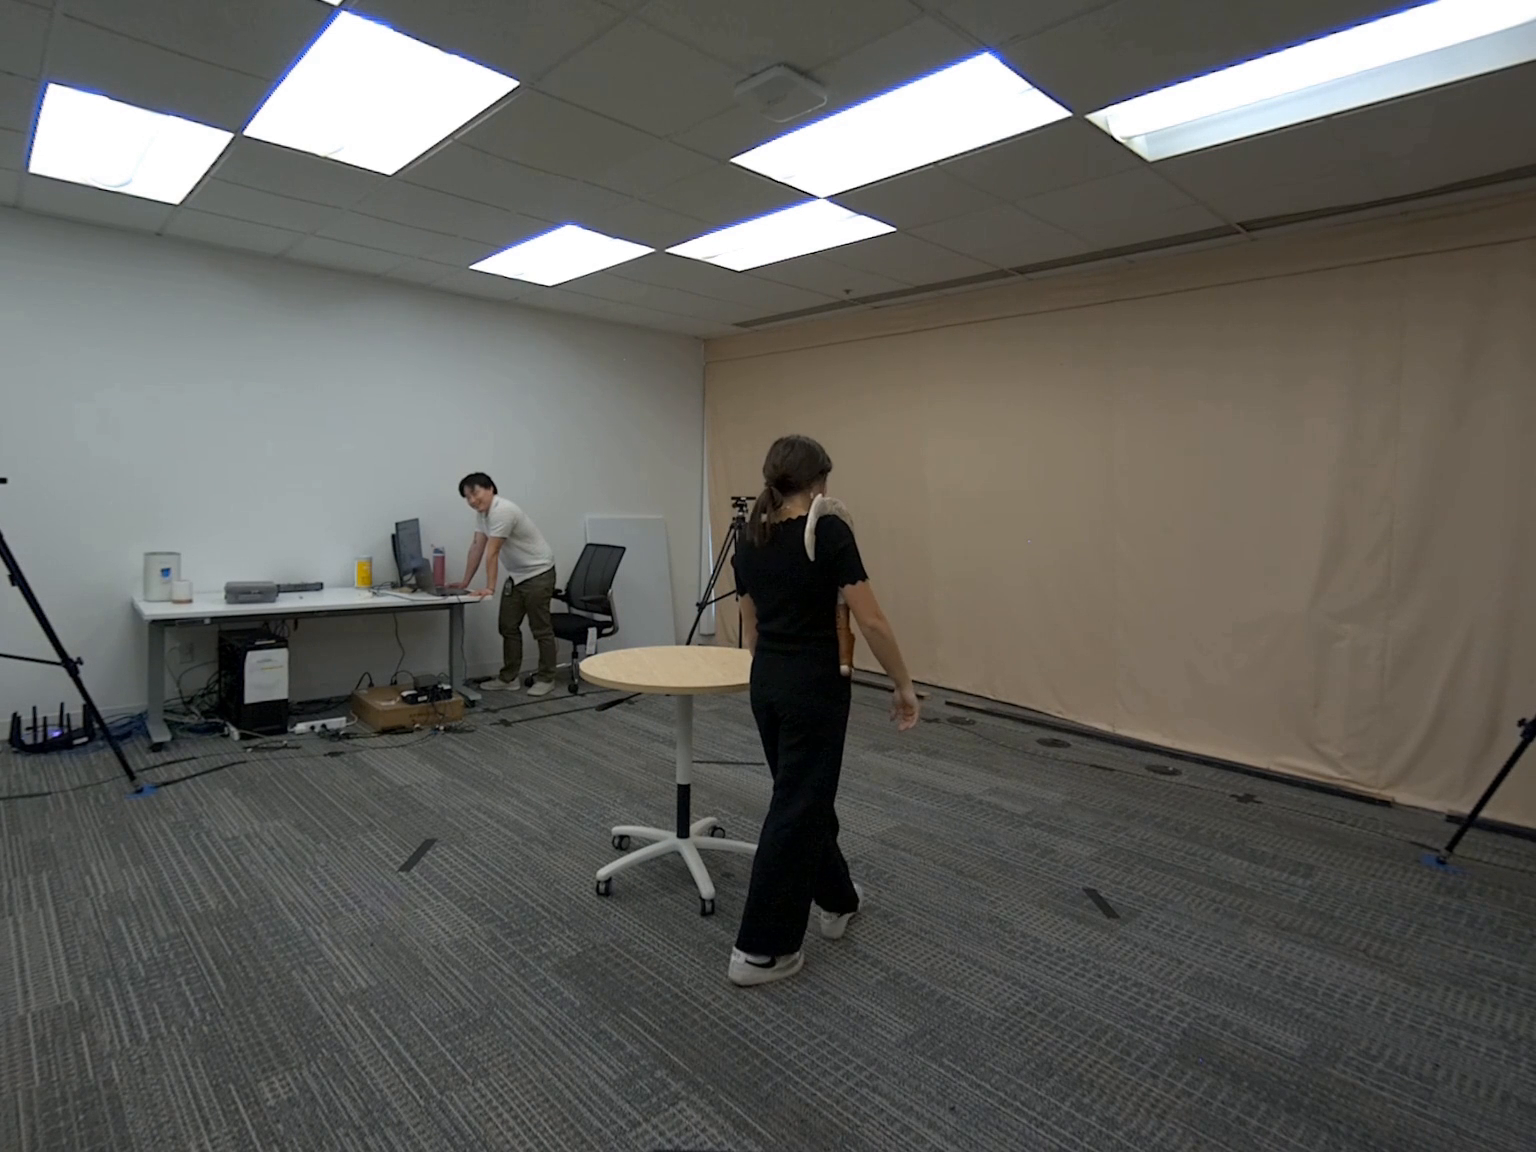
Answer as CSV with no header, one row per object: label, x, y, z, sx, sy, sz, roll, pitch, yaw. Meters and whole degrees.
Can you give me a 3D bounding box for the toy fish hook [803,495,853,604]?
toy fish hook,0.173,0.020,2.357,0.218,0.511,0.049,9,-16,-44
